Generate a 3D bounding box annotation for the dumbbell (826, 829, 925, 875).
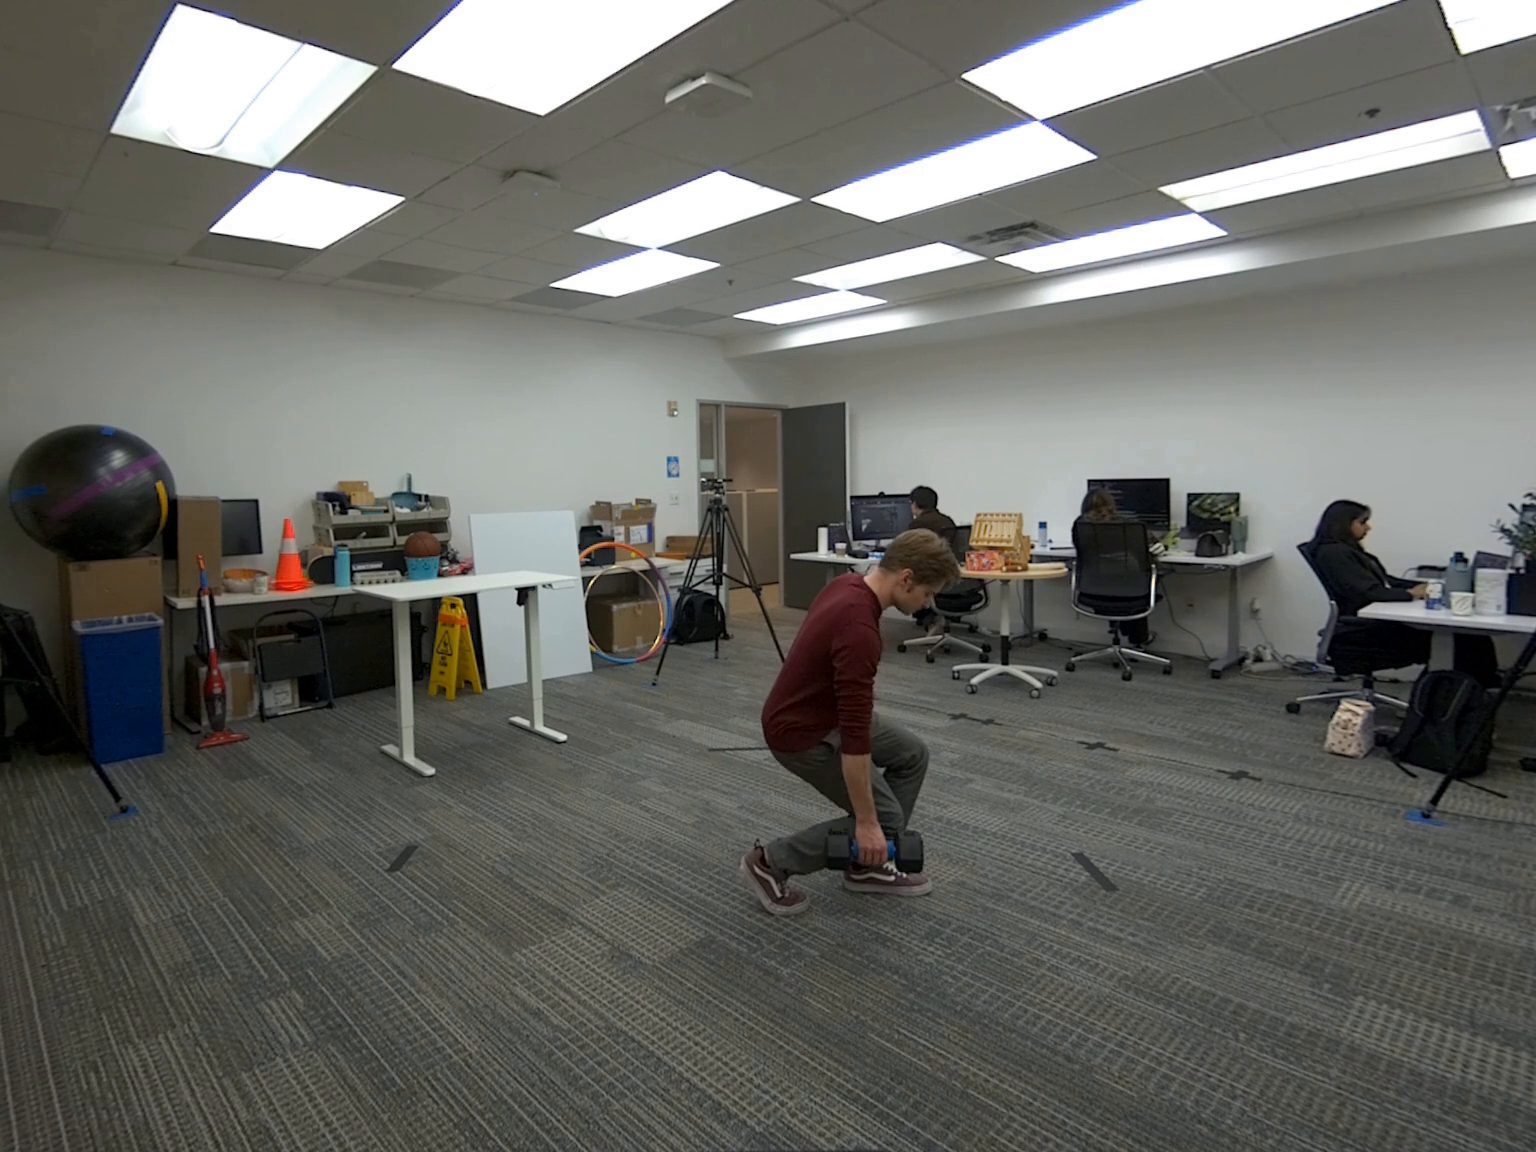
[{"bbox_3d":[0.319,0.829,2.592,0.295,0.126,0.106,-2,-28,6],"label":"dumbbell"}]
